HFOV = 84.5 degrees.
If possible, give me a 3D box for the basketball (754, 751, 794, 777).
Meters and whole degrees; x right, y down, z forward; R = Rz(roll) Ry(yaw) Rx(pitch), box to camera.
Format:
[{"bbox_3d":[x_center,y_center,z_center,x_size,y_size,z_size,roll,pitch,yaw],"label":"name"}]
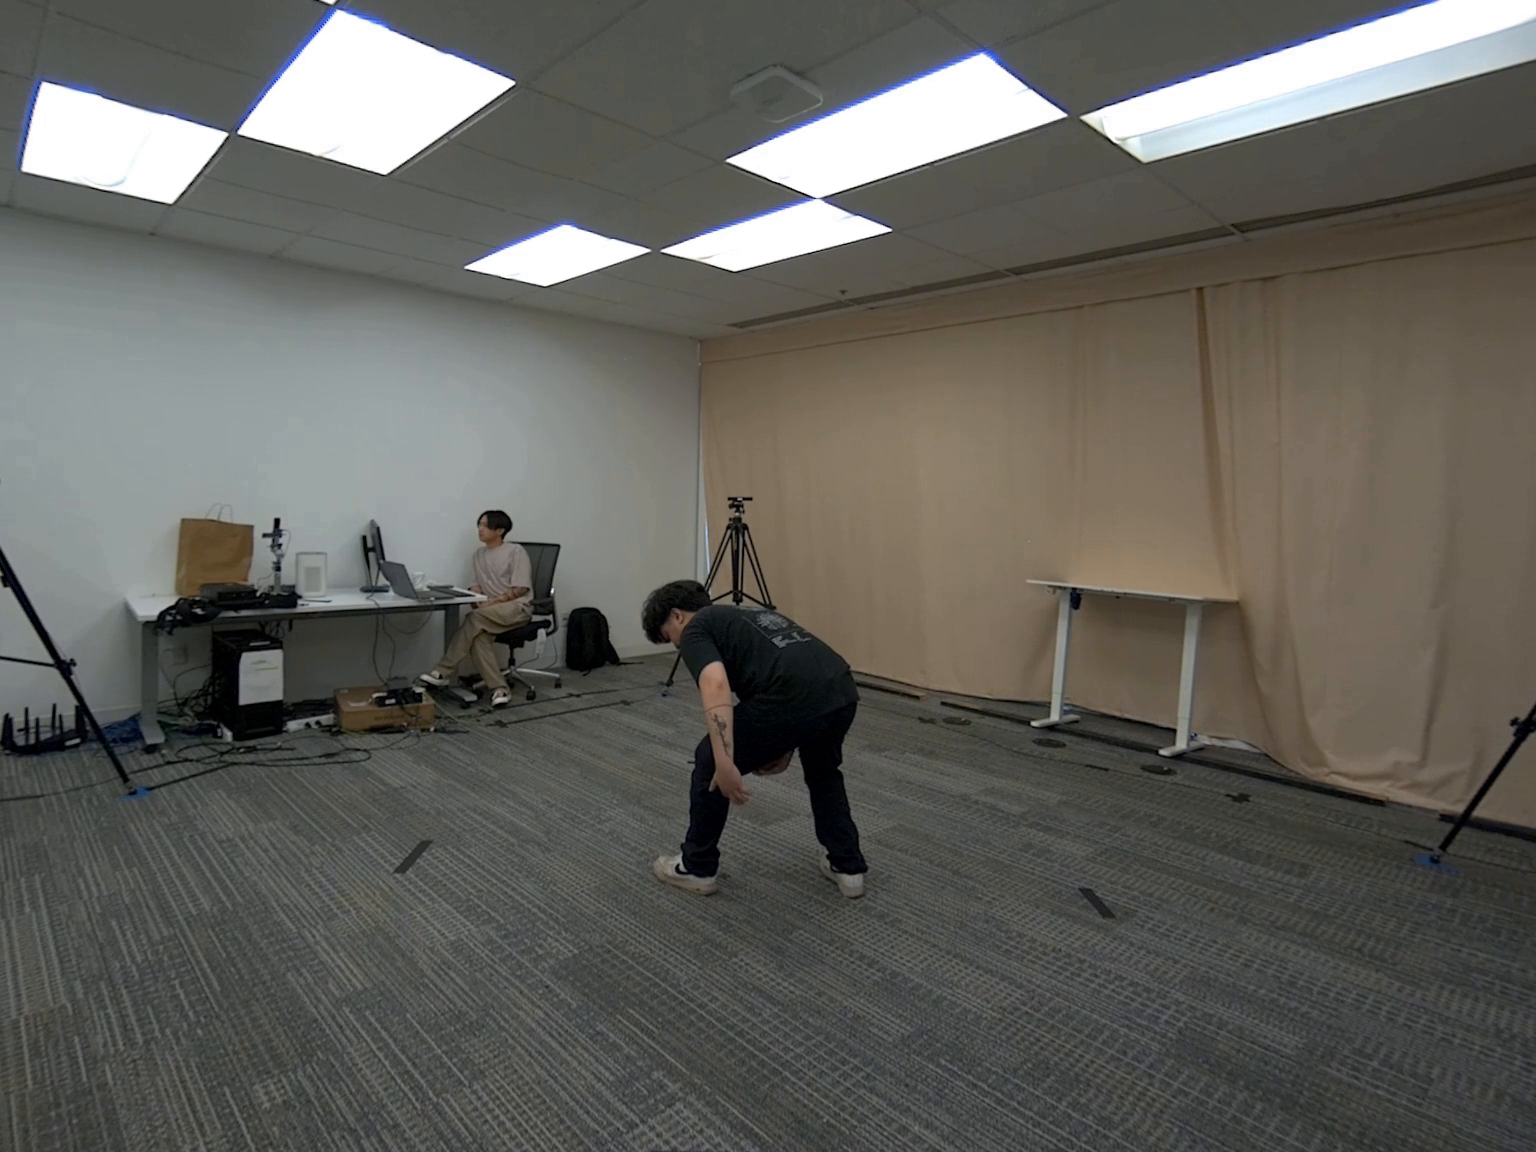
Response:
[{"bbox_3d":[-0.027,0.603,3.115,0.236,0.235,0.237,1,4,-1],"label":"basketball"}]
